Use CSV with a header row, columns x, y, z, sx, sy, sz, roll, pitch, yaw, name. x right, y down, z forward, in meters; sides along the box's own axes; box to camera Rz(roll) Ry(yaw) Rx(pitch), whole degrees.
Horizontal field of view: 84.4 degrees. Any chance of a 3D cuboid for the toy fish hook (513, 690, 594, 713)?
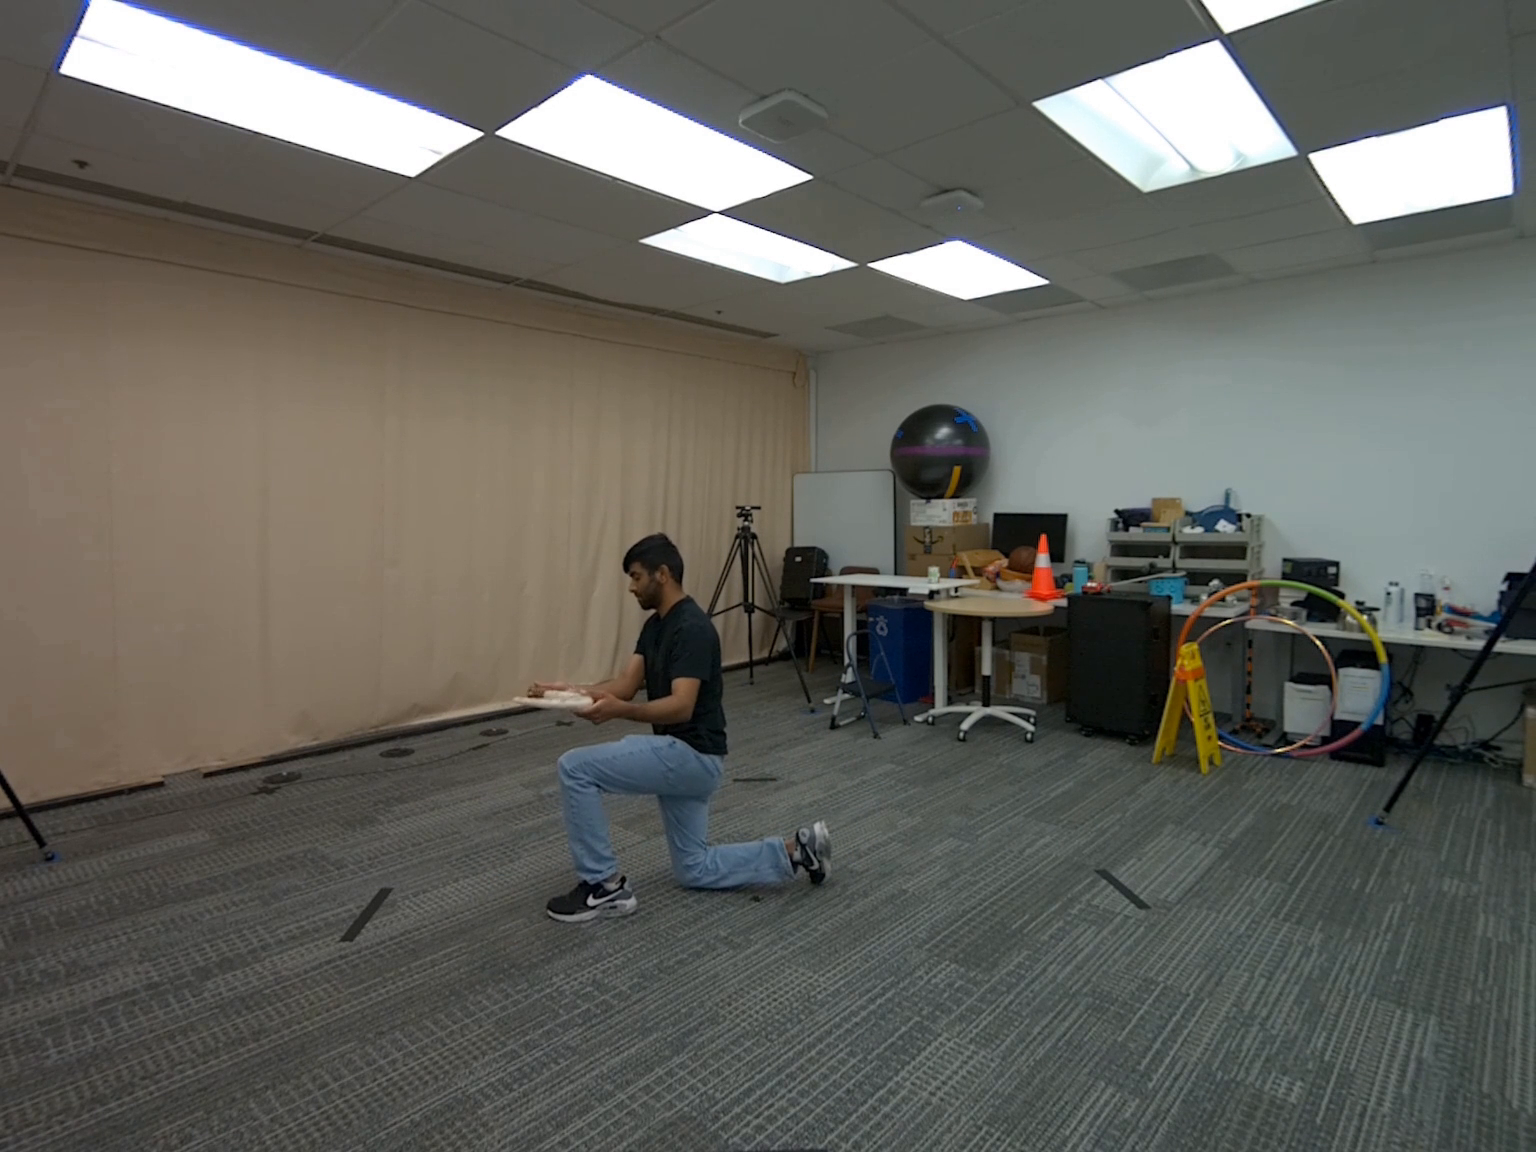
x,y,z,sx,sy,sz,roll,pitch,yaw,name
-0.717,0.373,2.645,0.218,0.048,0.519,10,-8,-29,toy fish hook
